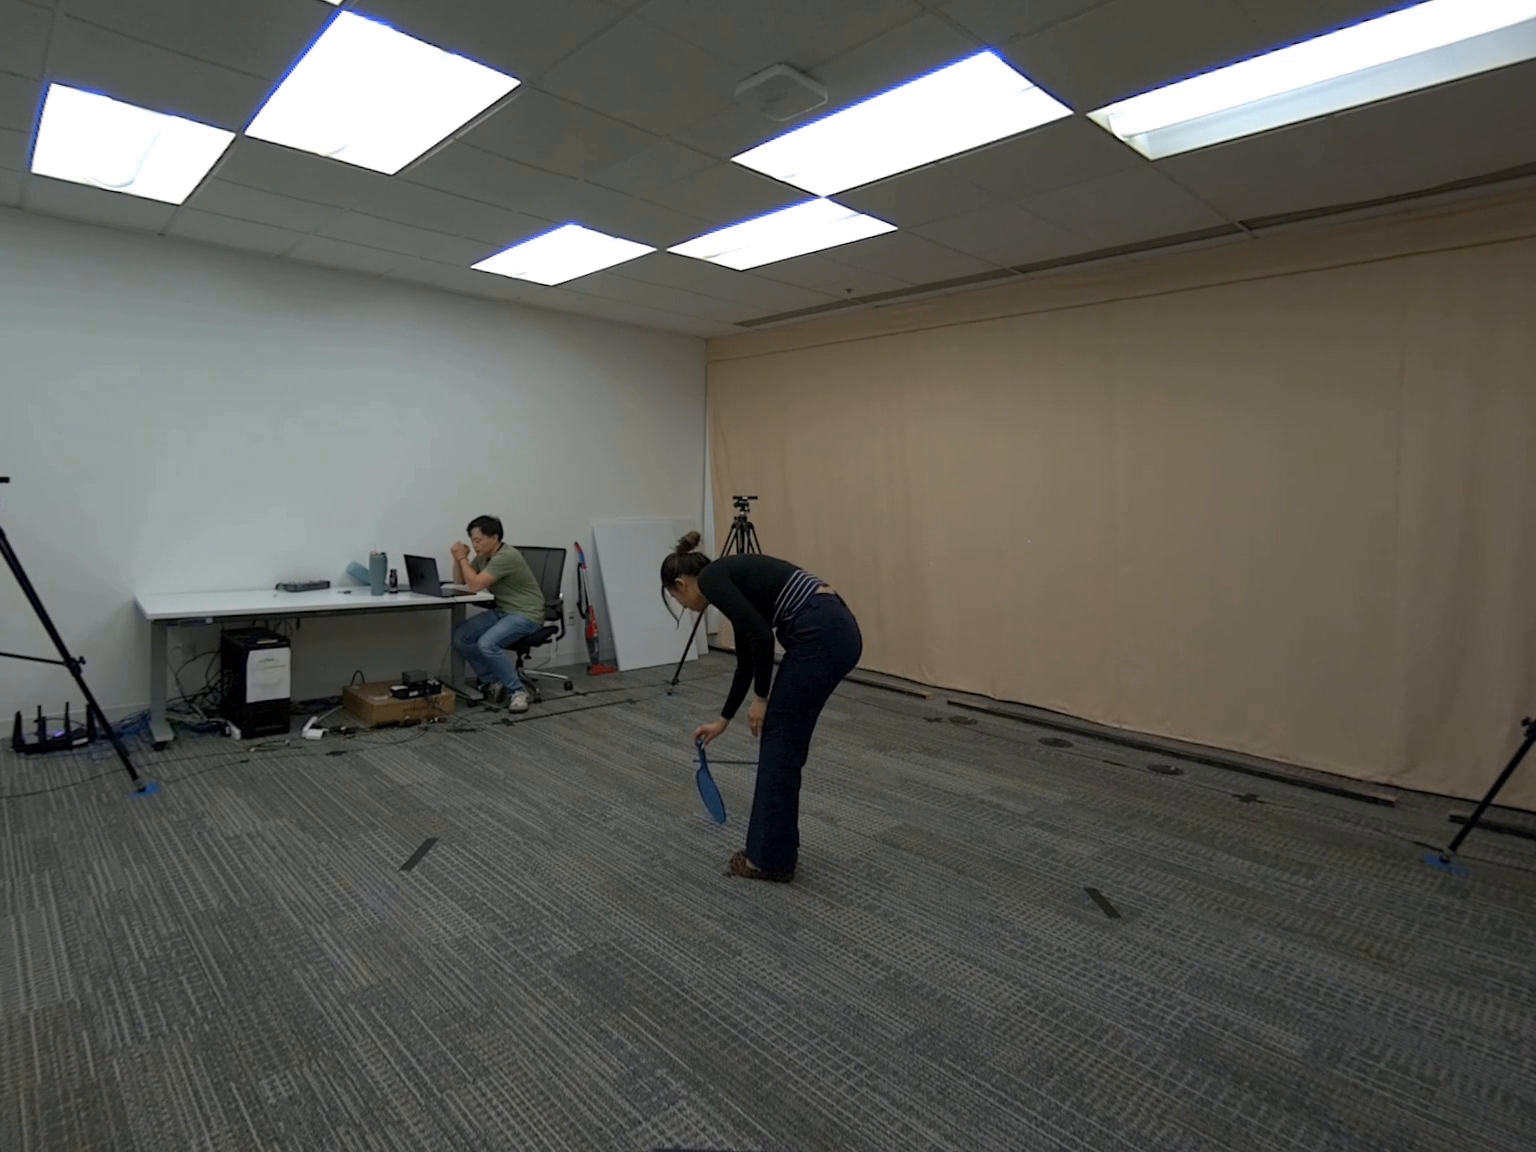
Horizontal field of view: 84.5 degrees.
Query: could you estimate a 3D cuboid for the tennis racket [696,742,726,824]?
[{"bbox_3d":[-0.257,0.863,3.538,0.031,0.424,0.220,-23,31,-27],"label":"tennis racket"}]
